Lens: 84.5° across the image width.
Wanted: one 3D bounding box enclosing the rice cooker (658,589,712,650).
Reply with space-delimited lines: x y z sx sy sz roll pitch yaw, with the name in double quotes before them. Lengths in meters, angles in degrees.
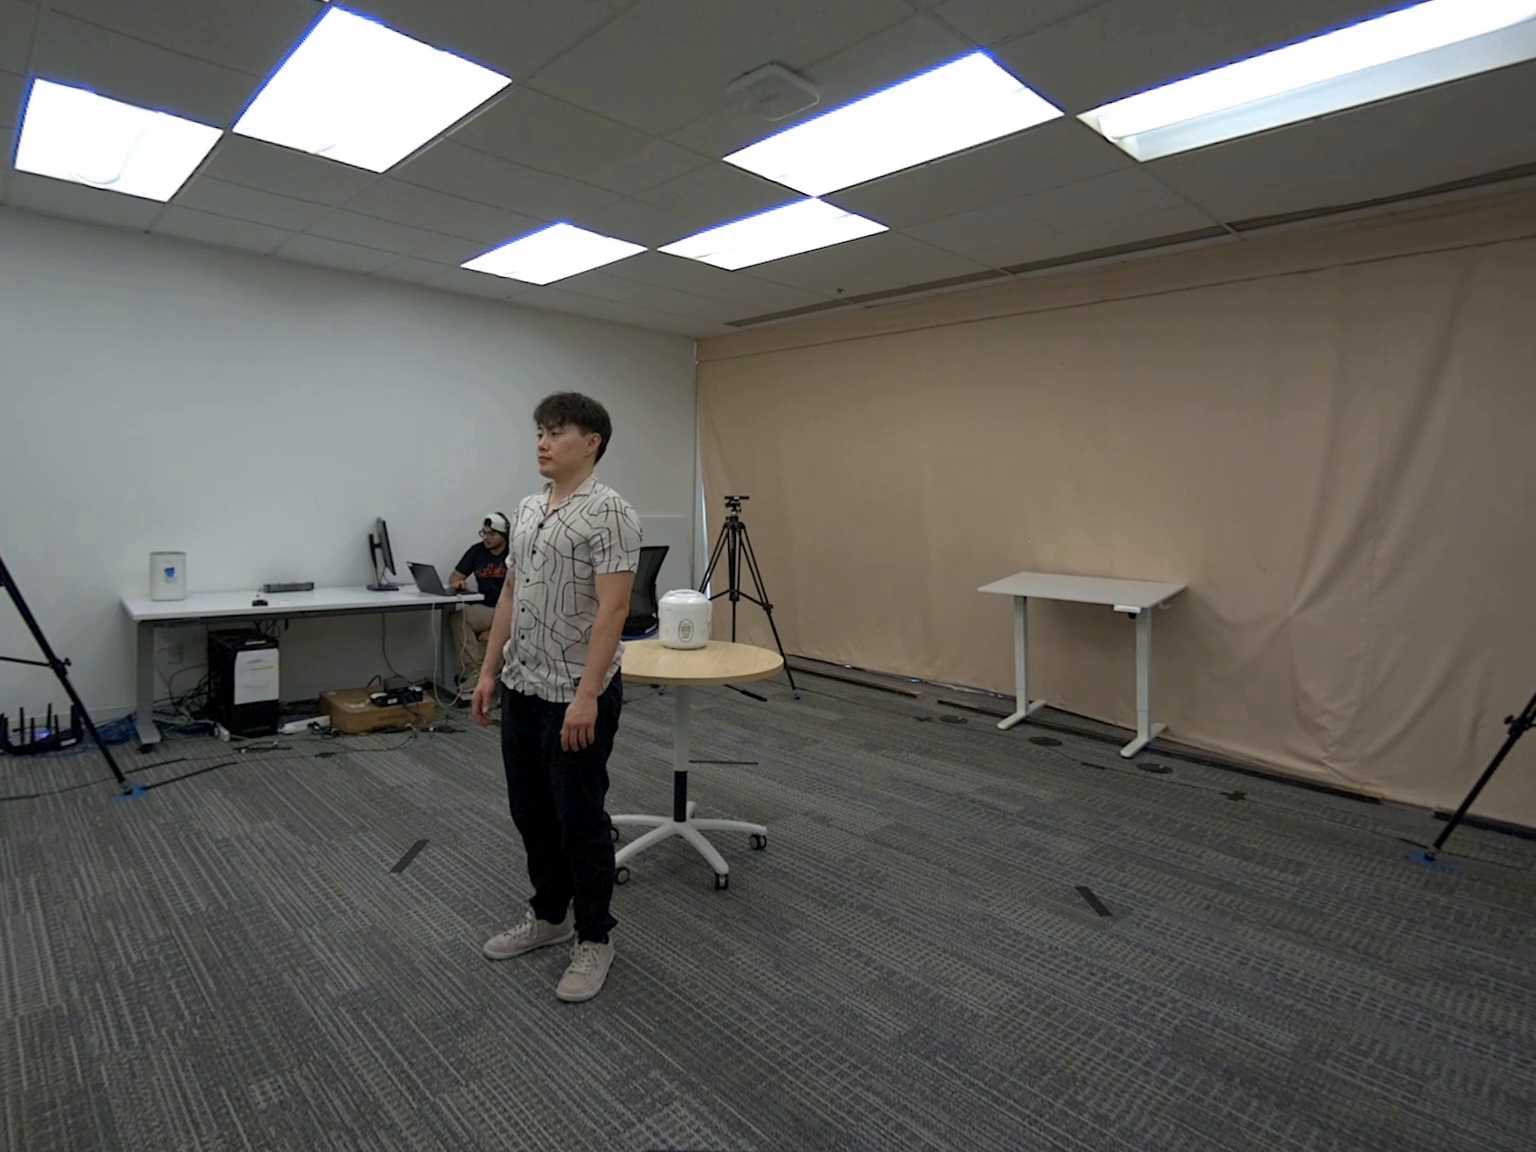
"rice cooker" -0.344 0.171 3.431 0.219 0.232 0.219 1 4 -8
